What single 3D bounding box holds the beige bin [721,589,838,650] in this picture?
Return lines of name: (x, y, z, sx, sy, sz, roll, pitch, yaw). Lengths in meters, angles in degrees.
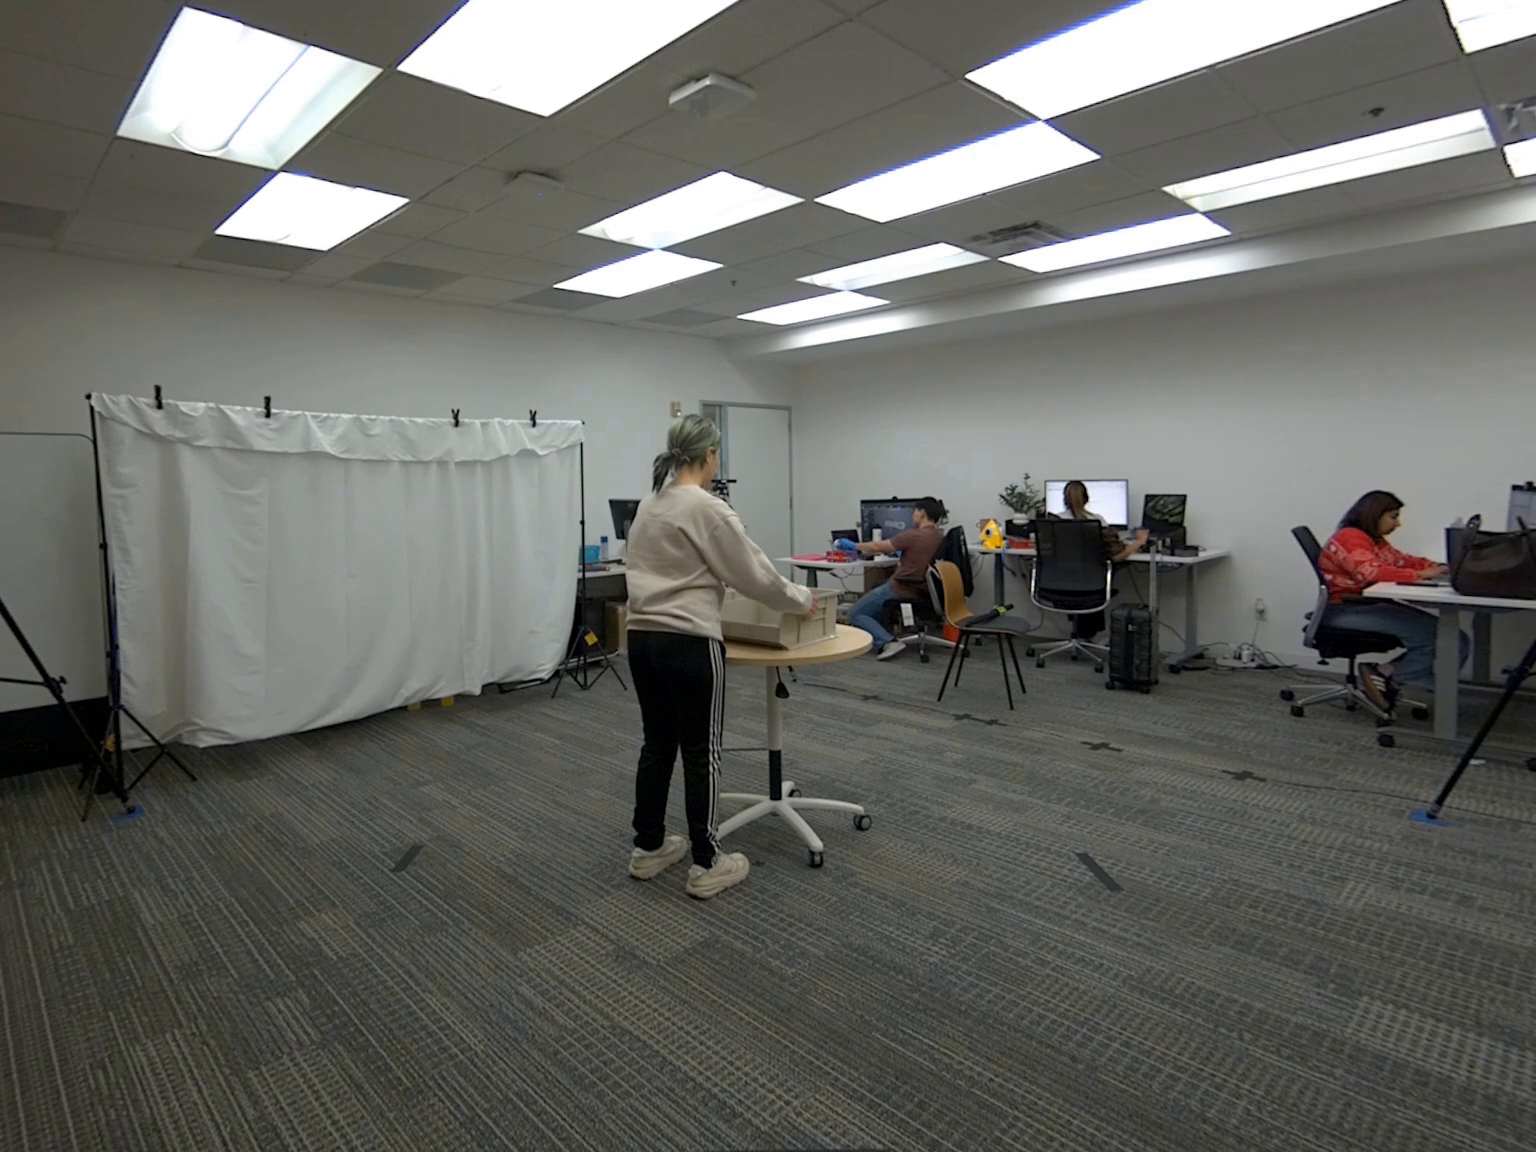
beige bin: (0.002, 0.152, 3.303, 0.435, 0.188, 0.367, 3, 6, 41)
